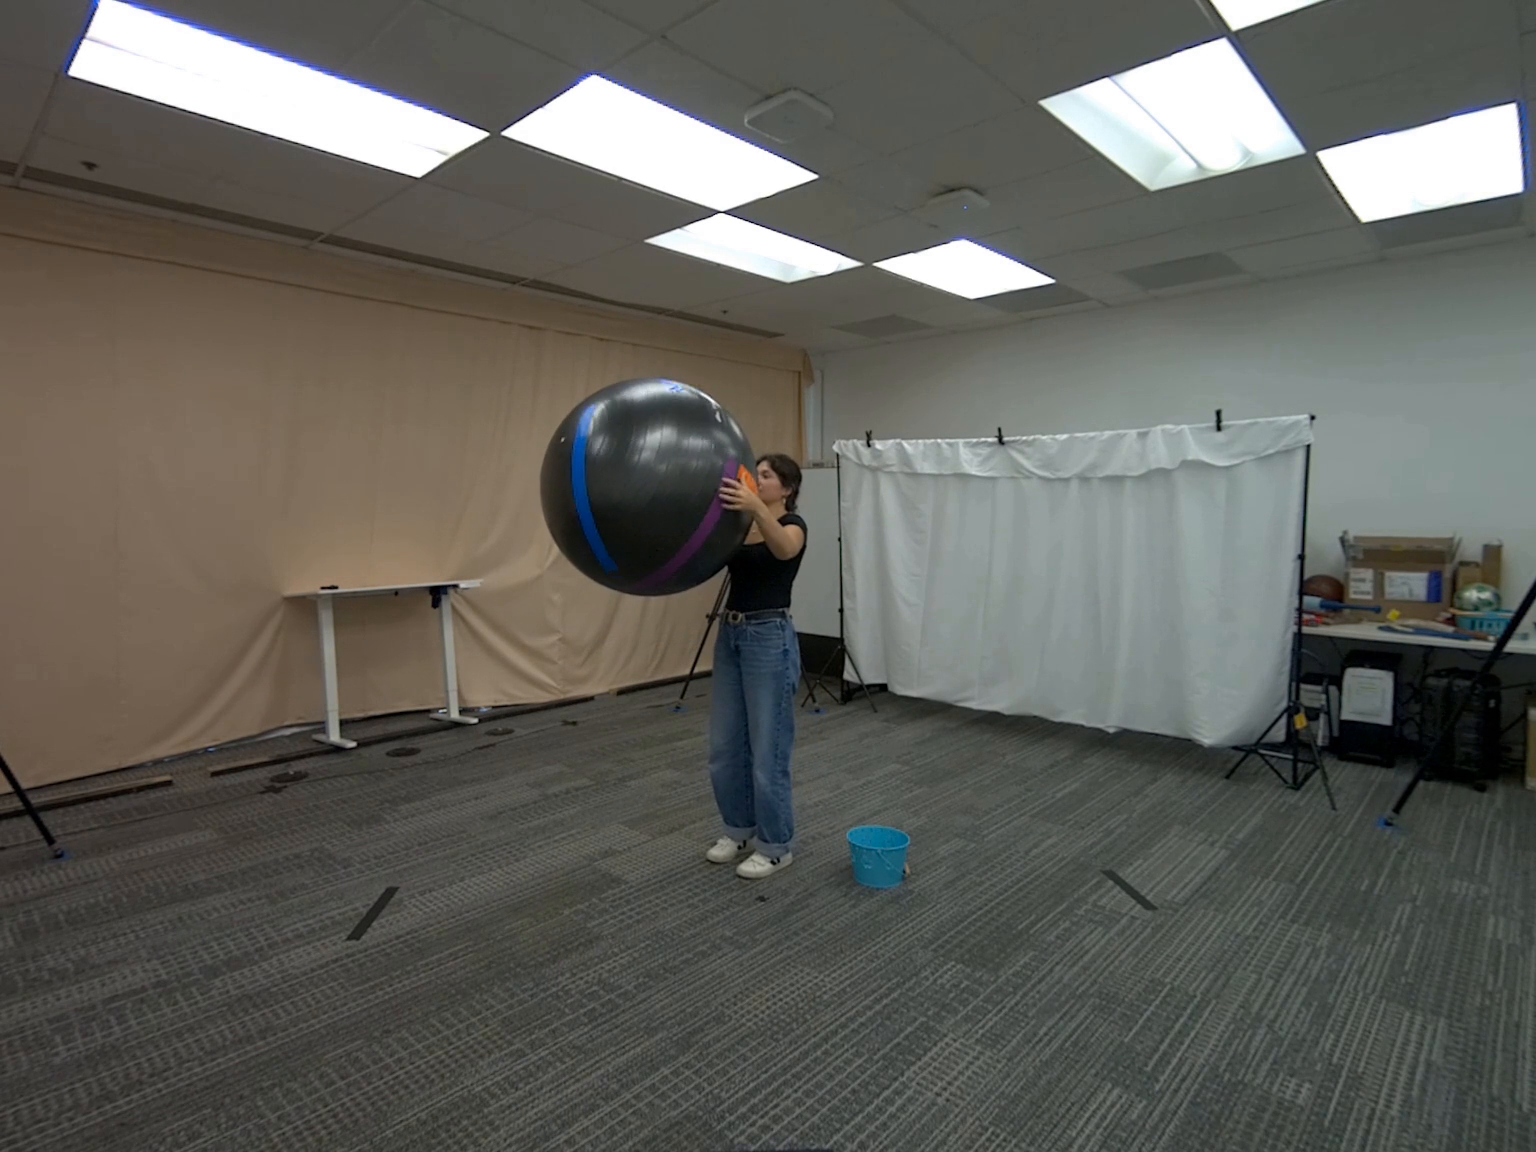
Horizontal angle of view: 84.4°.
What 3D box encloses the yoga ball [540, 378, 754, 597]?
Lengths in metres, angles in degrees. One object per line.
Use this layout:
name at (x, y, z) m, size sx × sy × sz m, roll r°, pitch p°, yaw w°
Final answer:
yoga ball at (-0.421, -0.291, 2.935) m, size 0.757 × 0.756 × 0.760 m, roll 0°, pitch 4°, yaw -2°
